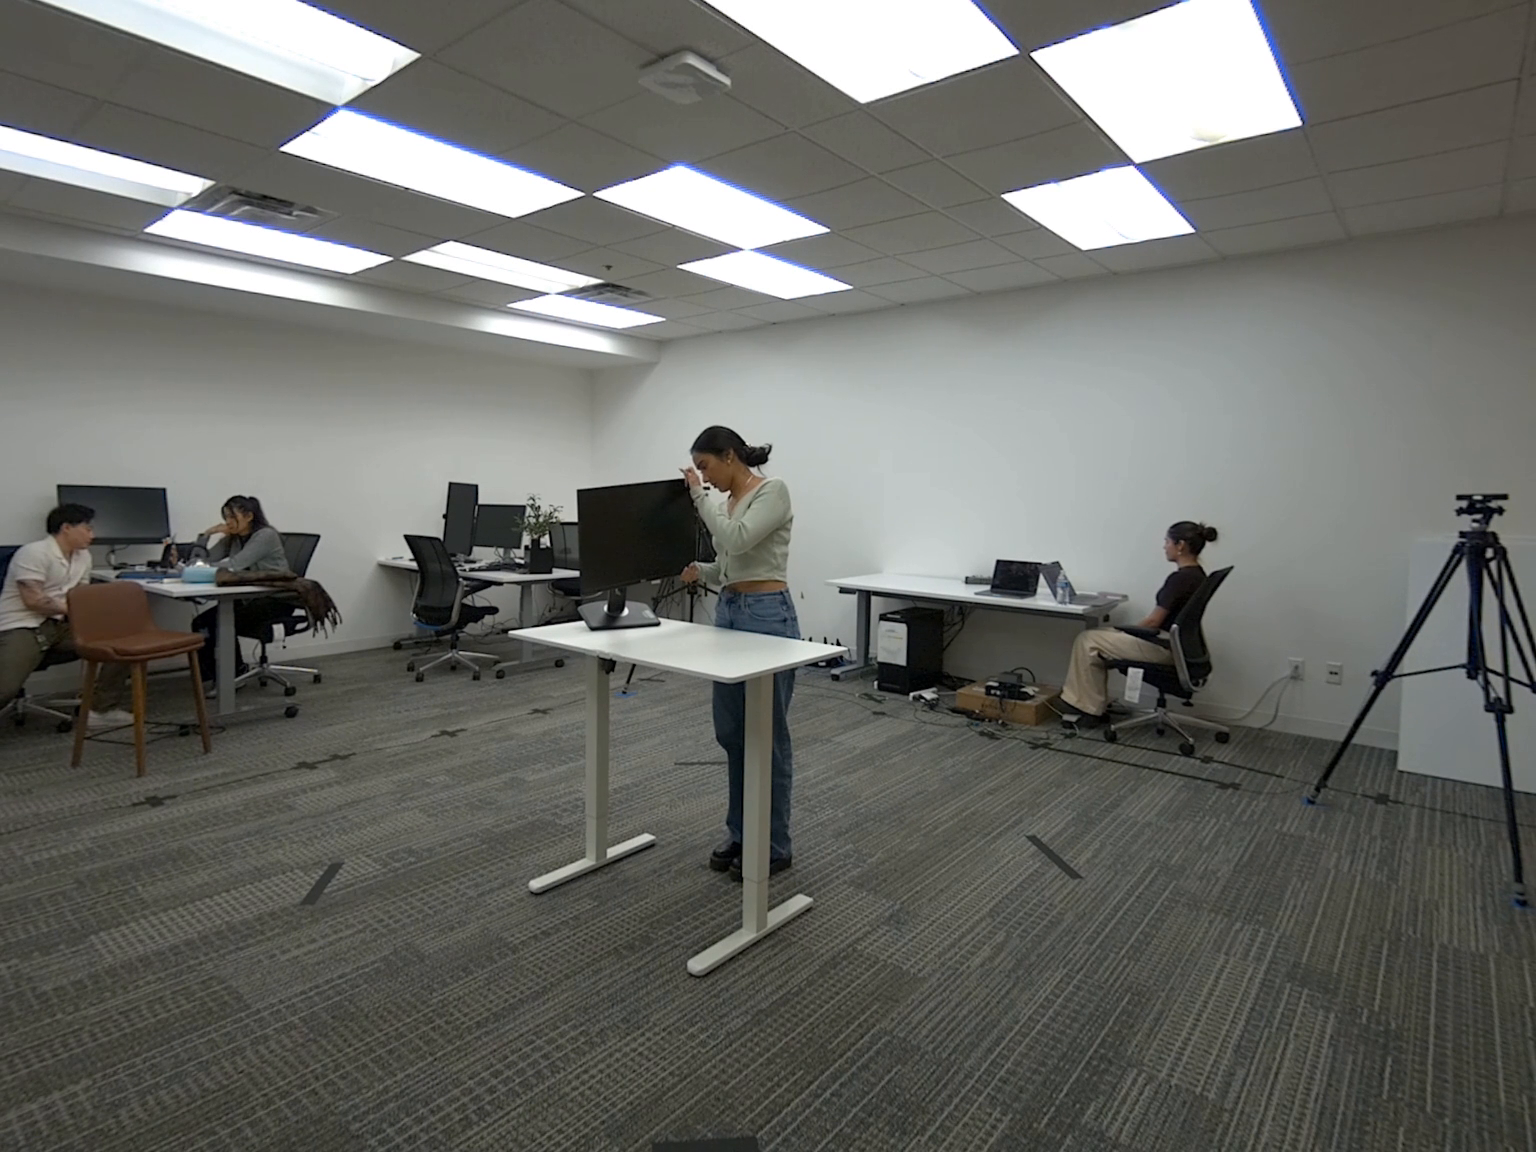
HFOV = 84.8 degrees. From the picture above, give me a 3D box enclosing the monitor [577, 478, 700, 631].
[{"bbox_3d":[-0.499,-0.080,3.012,0.194,0.516,0.525,25,23,35],"label":"monitor"}]
